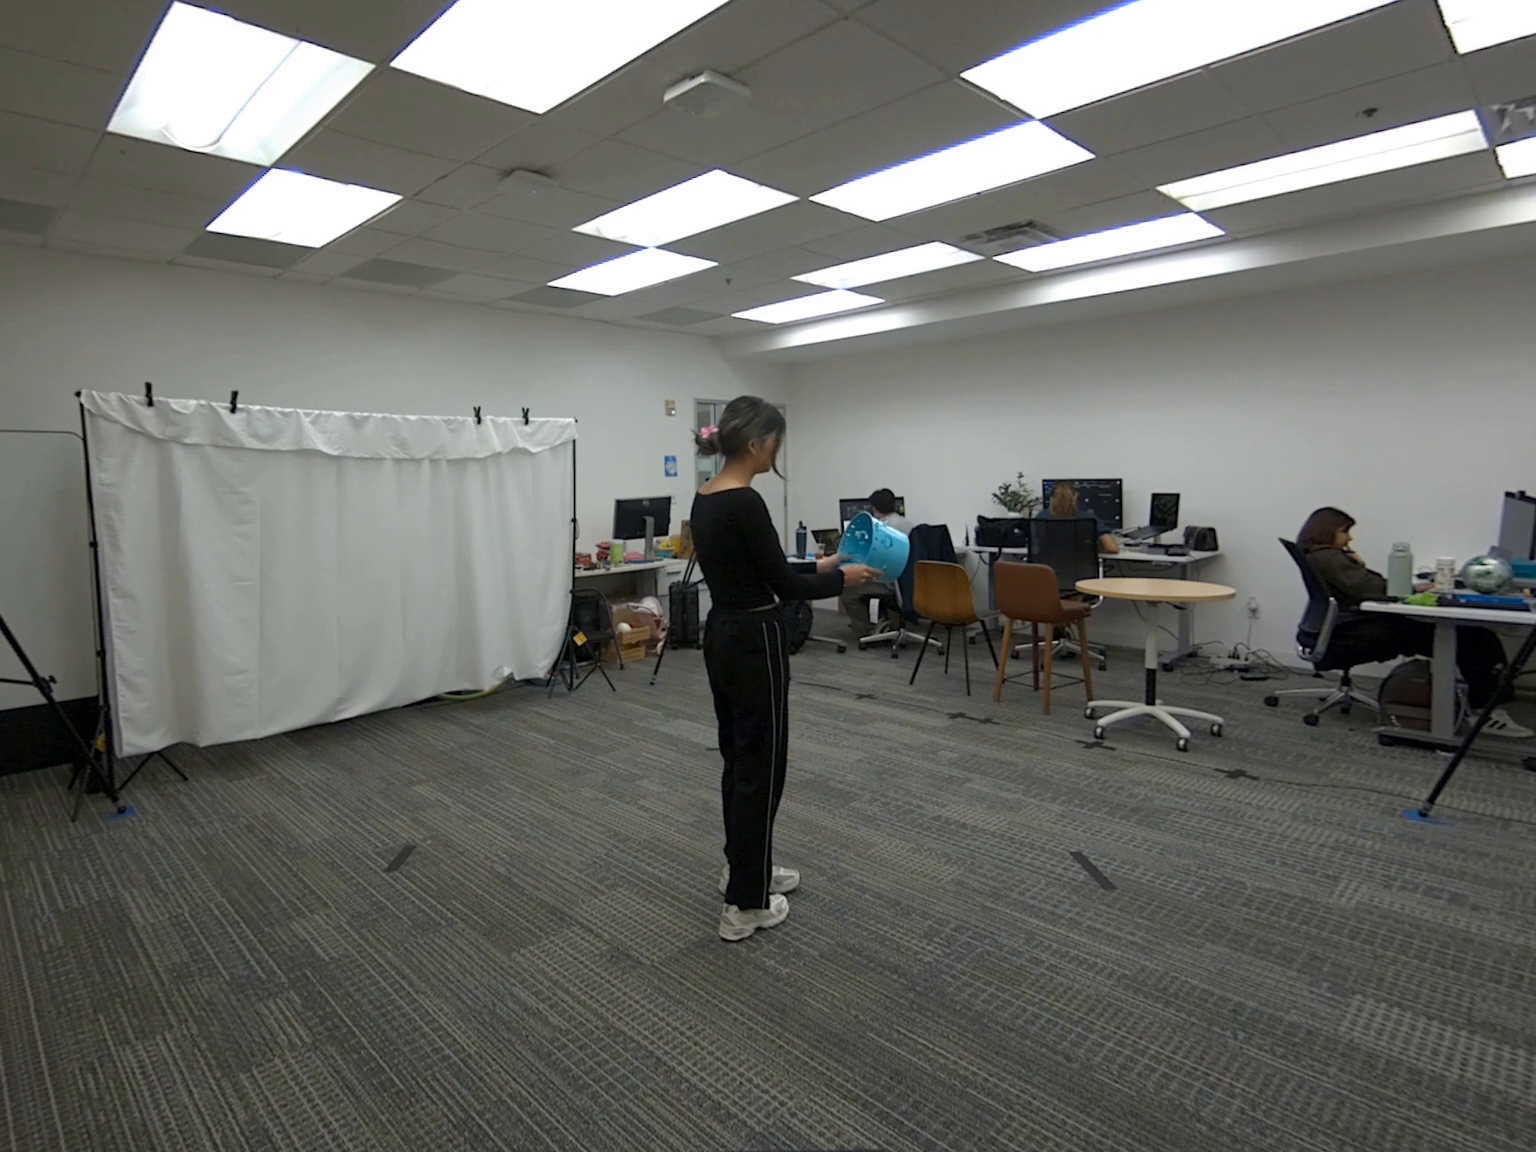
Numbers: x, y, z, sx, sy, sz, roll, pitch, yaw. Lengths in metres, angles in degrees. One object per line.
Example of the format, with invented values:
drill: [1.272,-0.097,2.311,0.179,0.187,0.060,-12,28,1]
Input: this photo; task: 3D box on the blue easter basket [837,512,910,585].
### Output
blue easter basket: [0.353,-0.079,2.850,0.153,0.244,0.248,17,-1,-19]
